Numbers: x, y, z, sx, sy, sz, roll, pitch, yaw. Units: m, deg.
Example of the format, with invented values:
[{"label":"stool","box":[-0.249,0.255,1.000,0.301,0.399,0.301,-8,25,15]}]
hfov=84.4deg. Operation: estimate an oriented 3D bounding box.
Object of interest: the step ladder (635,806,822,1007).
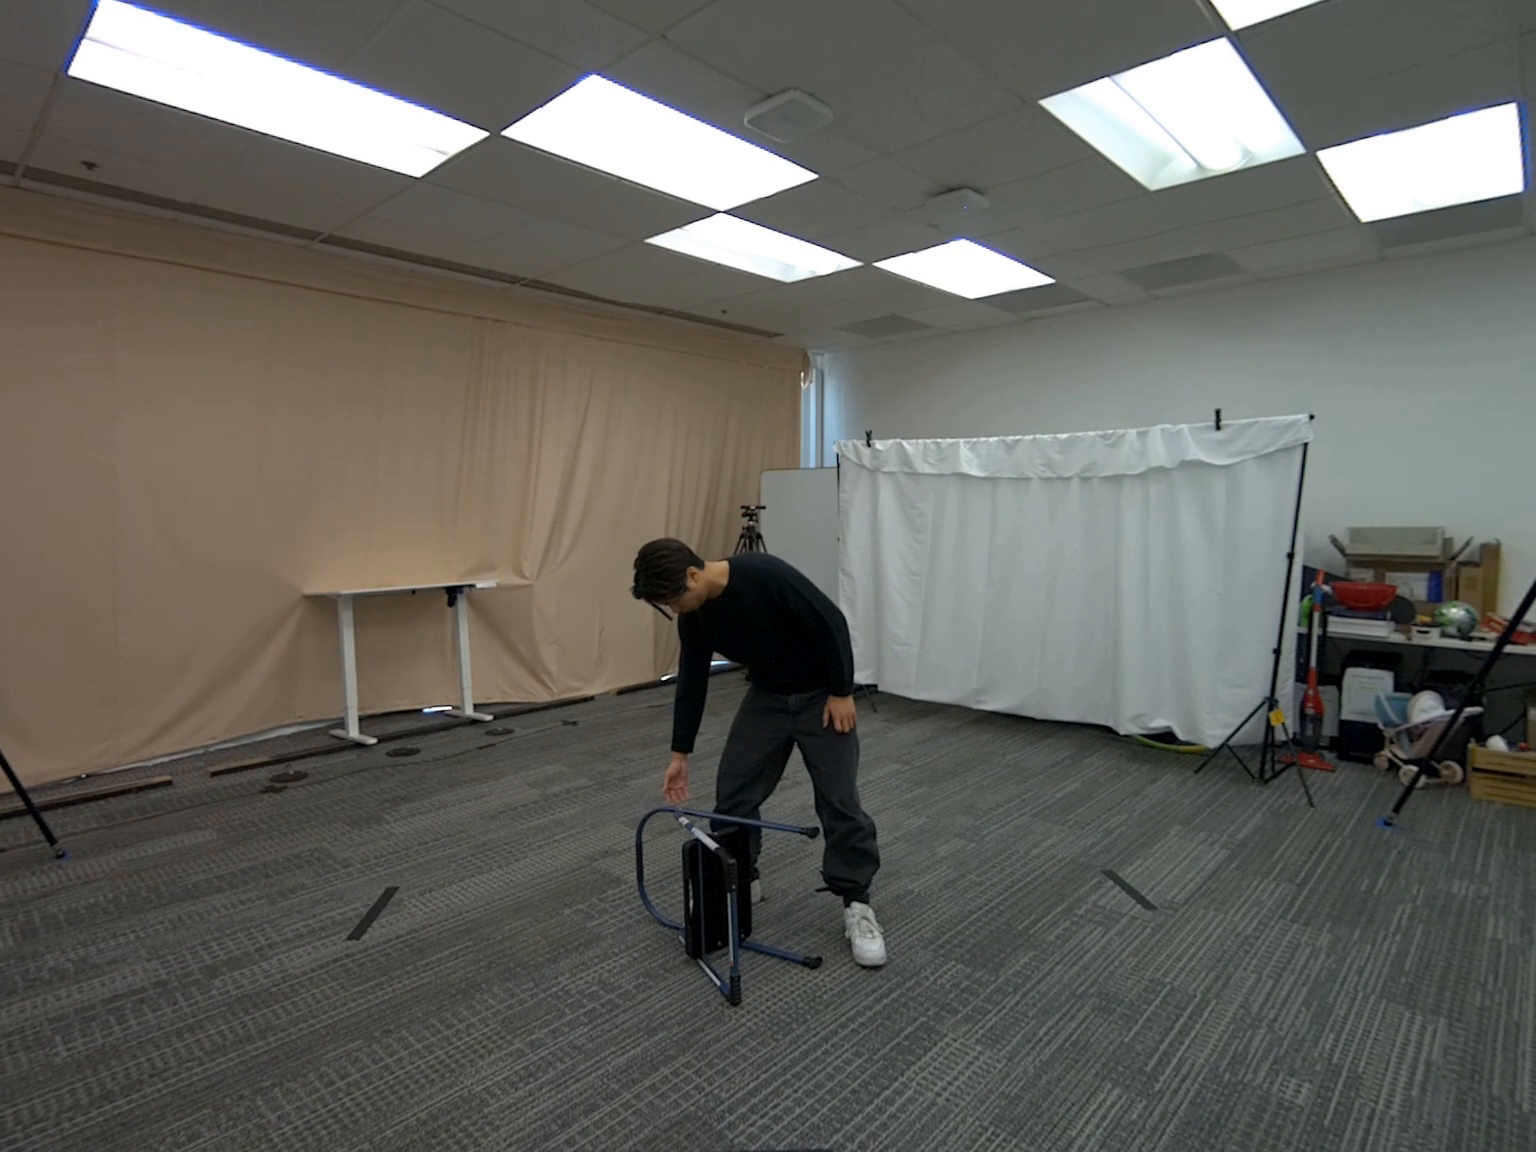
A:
[{"label":"step ladder","box":[-0.173,0.965,2.653,0.339,0.430,0.626,-4,4,-42]}]
